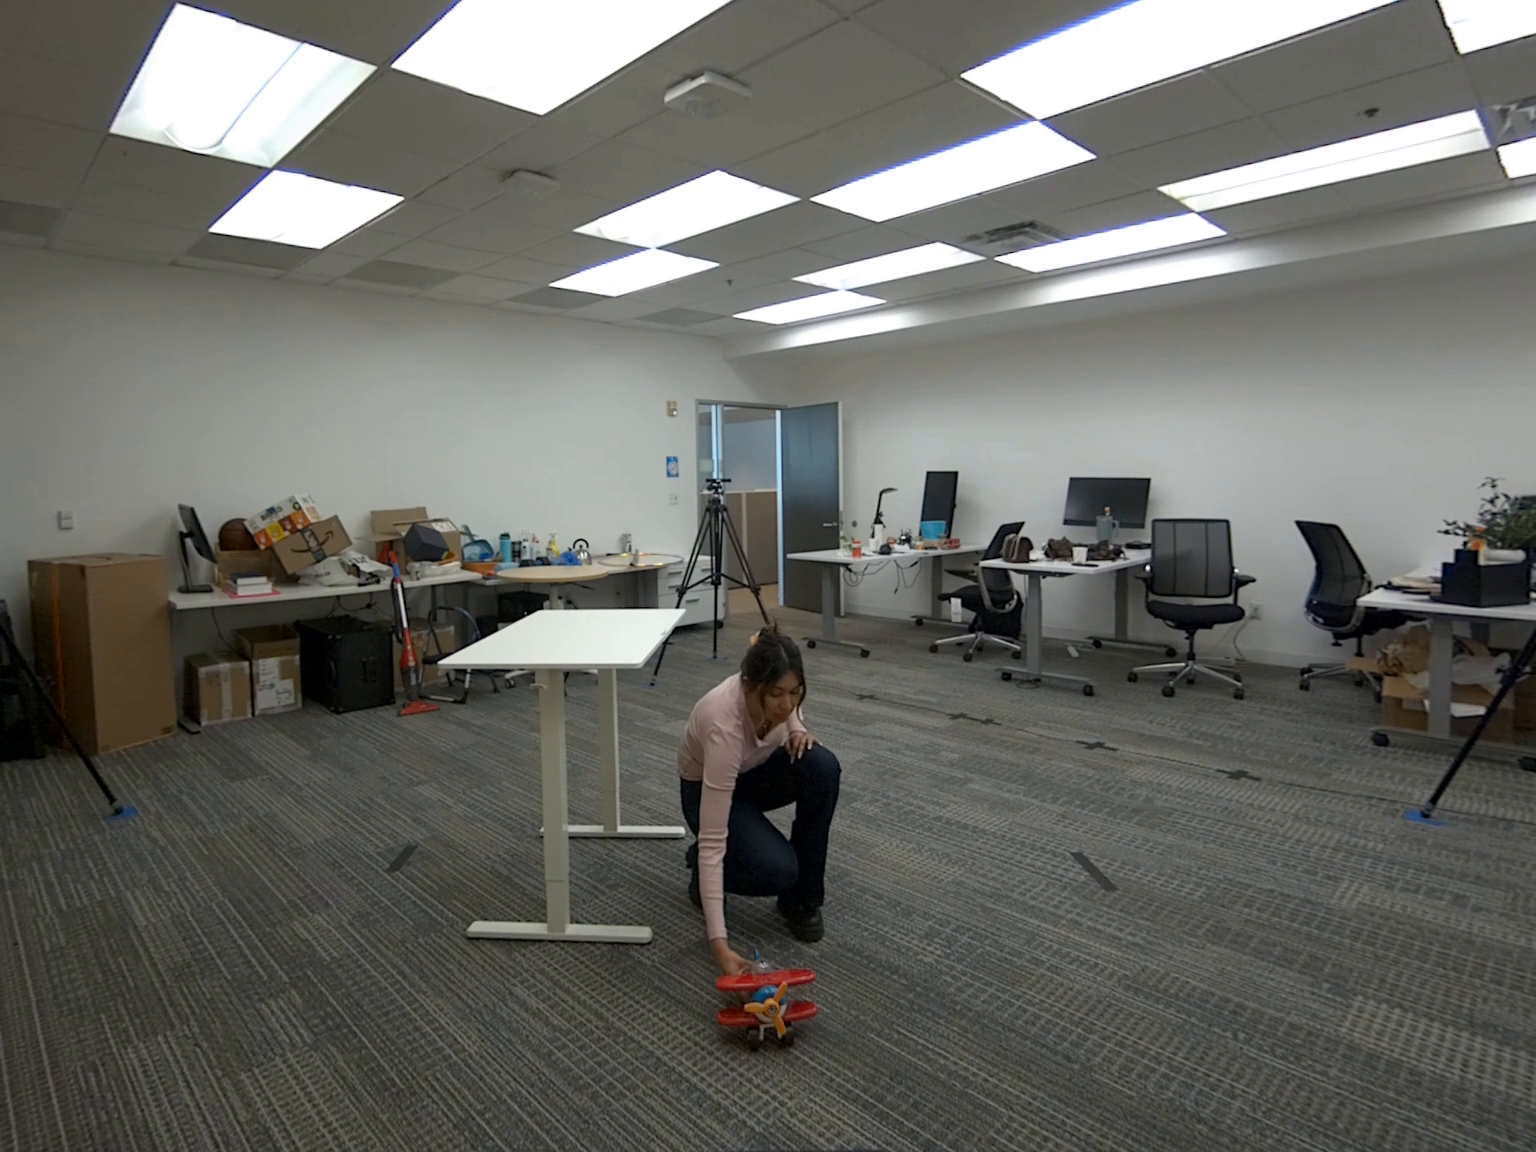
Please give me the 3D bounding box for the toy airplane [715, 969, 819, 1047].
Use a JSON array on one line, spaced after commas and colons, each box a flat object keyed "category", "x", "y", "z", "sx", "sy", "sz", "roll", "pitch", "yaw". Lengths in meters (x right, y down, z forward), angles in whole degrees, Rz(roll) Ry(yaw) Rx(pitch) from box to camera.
[{"category": "toy airplane", "x": -0.021, "y": 1.083, "z": 2.186, "sx": 0.245, "sy": 0.155, "sz": 0.267, "roll": -8, "pitch": 8, "yaw": -34}]
